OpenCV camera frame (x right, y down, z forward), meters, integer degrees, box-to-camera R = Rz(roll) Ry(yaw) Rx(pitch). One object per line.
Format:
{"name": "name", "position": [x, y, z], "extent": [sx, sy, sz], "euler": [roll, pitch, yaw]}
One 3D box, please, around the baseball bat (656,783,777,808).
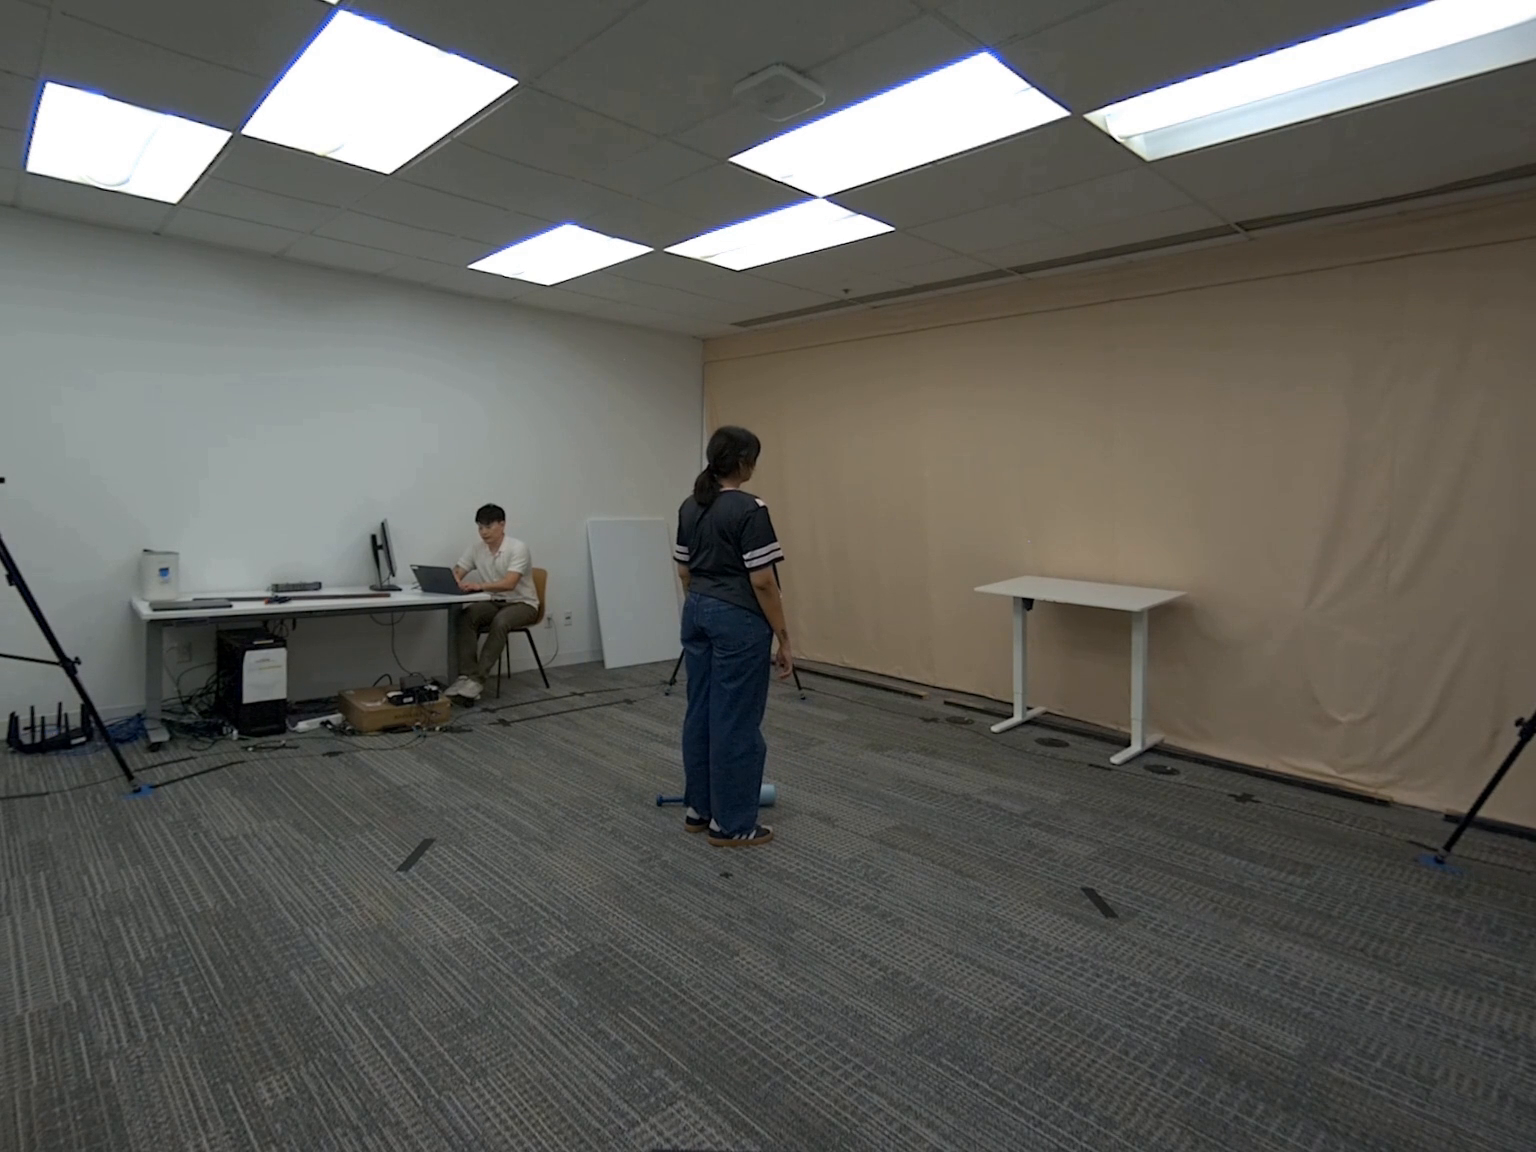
{"name": "baseball bat", "position": [-0.240, 1.010, 3.801], "extent": [0.541, 0.089, 0.090], "euler": [-2, 5, -5]}
